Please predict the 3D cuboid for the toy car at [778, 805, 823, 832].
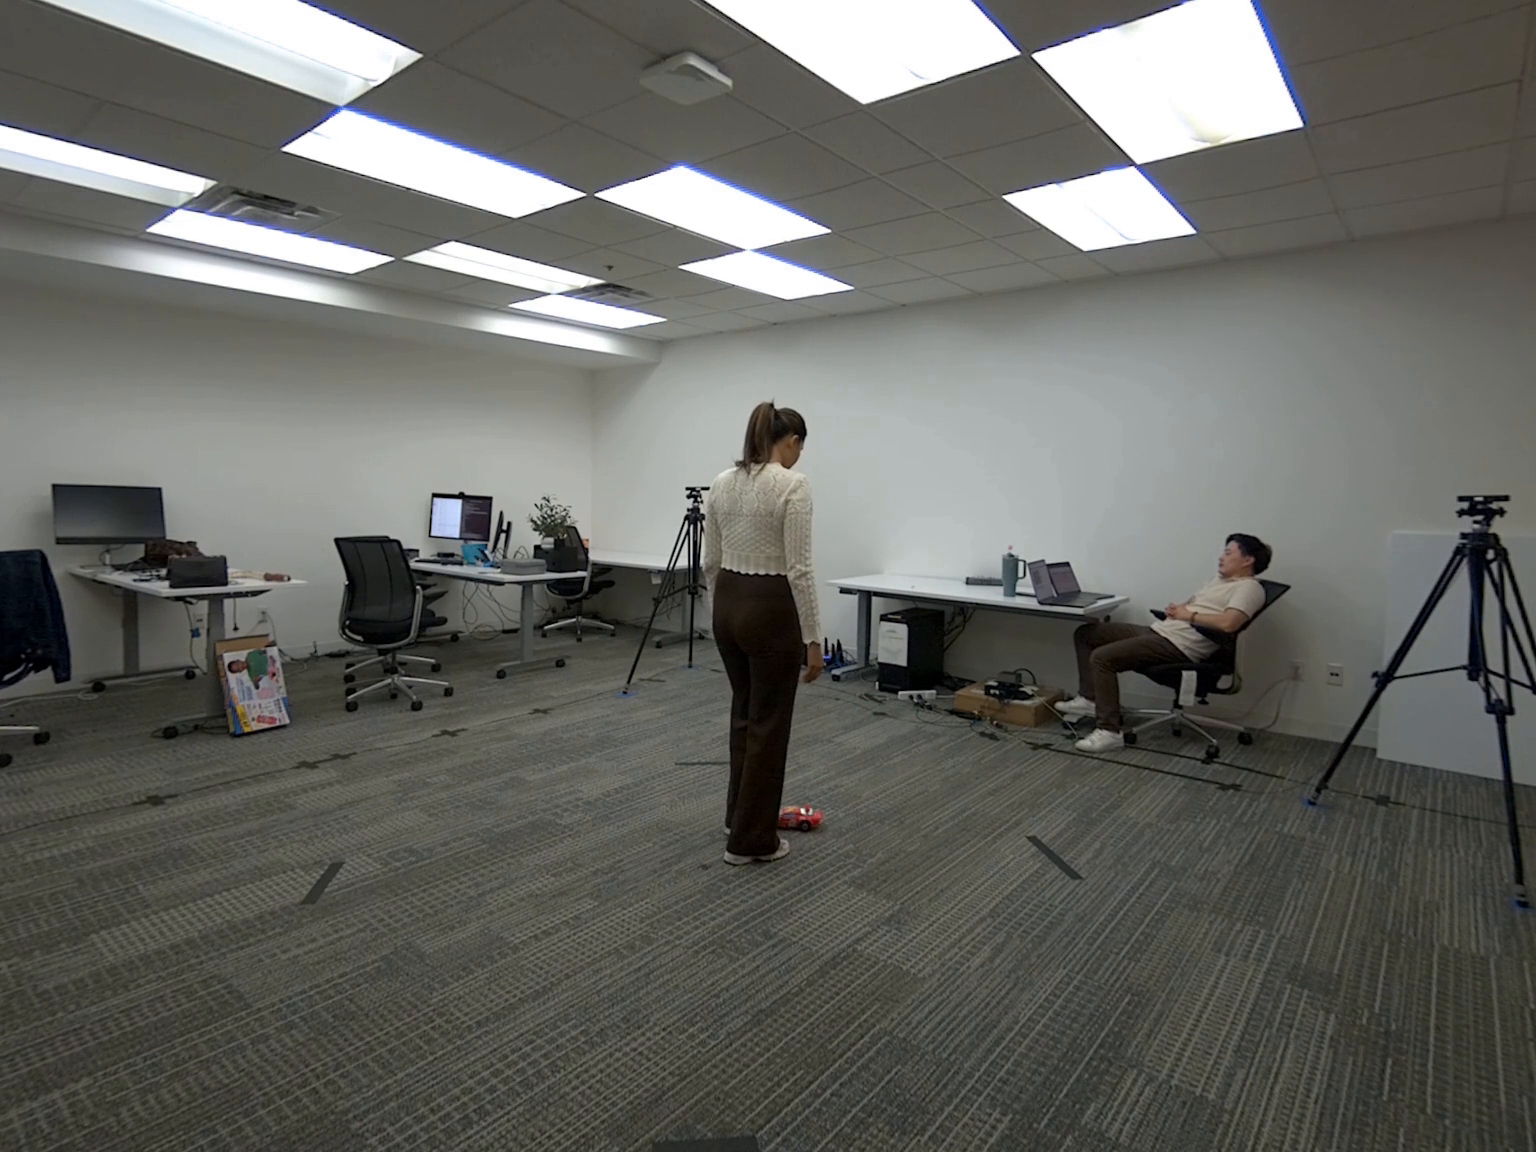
[{"bbox_3d":[0.102,1.003,3.511,0.256,0.083,0.130,-10,5,4],"label":"toy car"}]
